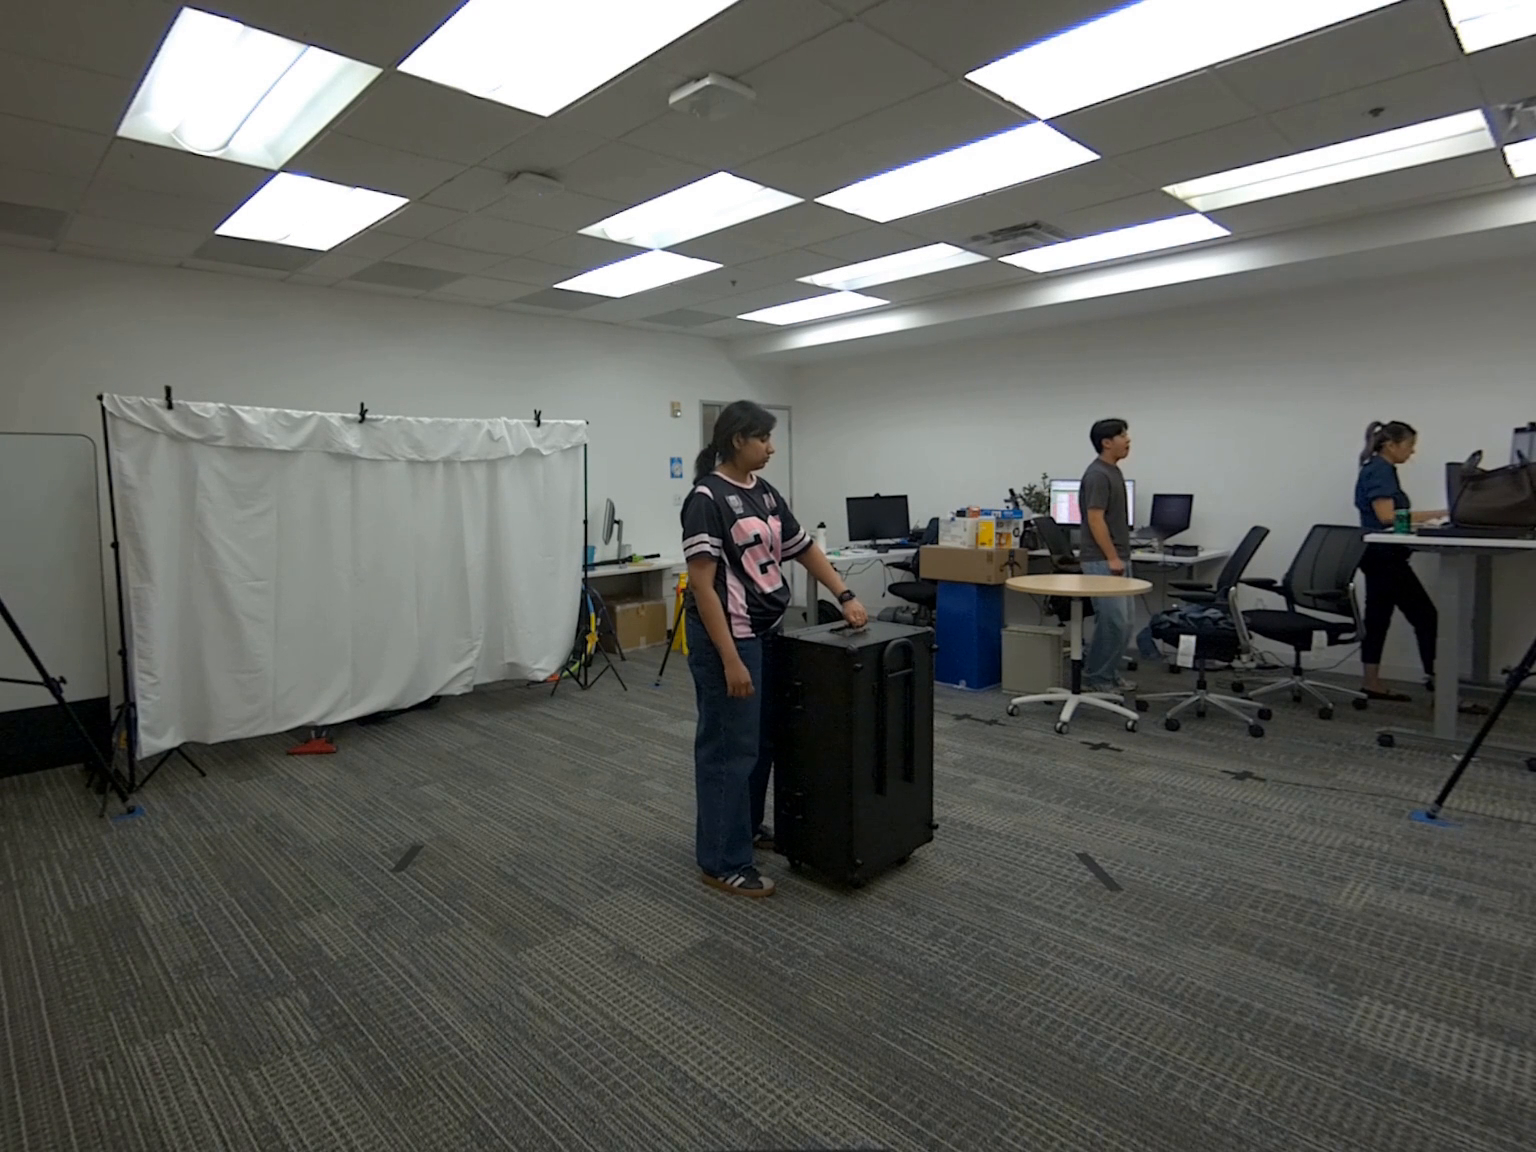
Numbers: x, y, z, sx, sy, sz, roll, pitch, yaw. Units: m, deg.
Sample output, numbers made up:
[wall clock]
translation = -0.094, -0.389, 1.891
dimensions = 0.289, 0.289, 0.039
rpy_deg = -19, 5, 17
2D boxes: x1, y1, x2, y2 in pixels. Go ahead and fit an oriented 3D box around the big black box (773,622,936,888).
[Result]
[big black box]
translation = 0.319, 0.622, 3.062
dimensions = 0.397, 0.865, 0.509
rpy_deg = 3, 6, 44
